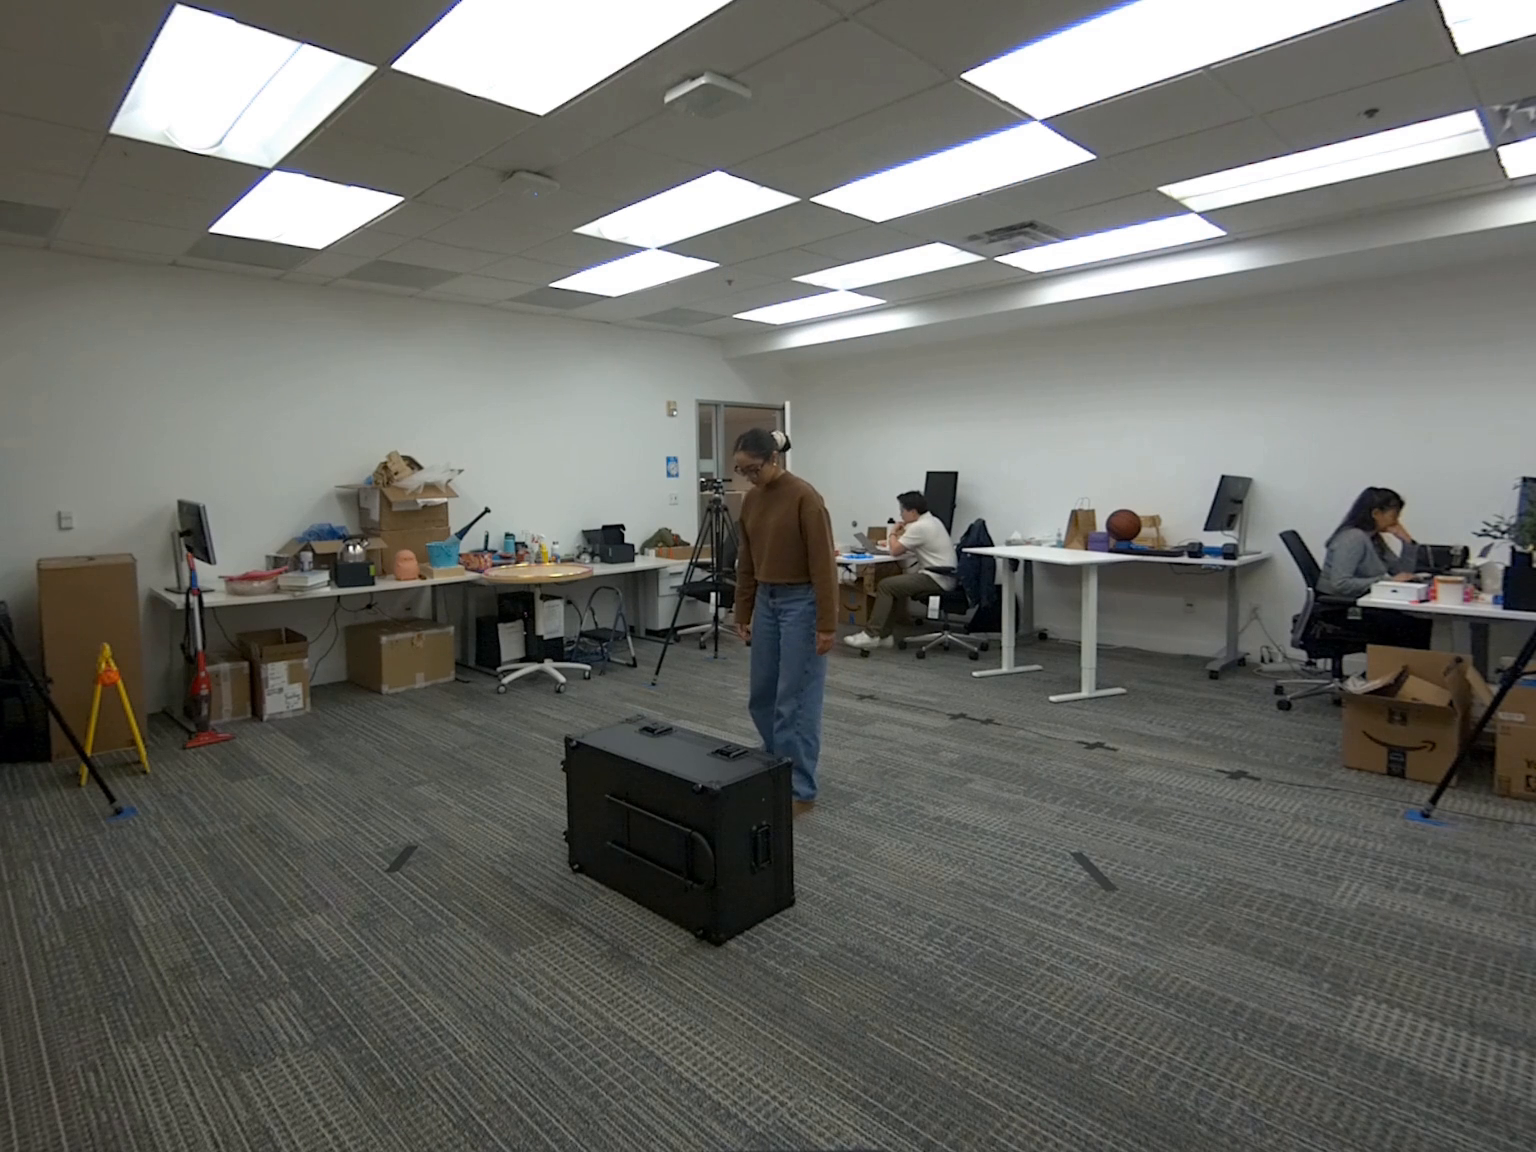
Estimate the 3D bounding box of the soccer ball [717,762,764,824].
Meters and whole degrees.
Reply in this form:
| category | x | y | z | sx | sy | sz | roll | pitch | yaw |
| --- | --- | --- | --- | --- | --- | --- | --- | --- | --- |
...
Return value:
| category | x | y | z | sx | sy | sz | roll | pitch | yaw |
| --- | --- | --- | --- | --- | --- | --- | --- | --- | --- |
| soccer ball | -0.119 | 0.900 | 3.569 | 0.187 | 0.187 | 0.188 | -1 | 5 | -2 |
